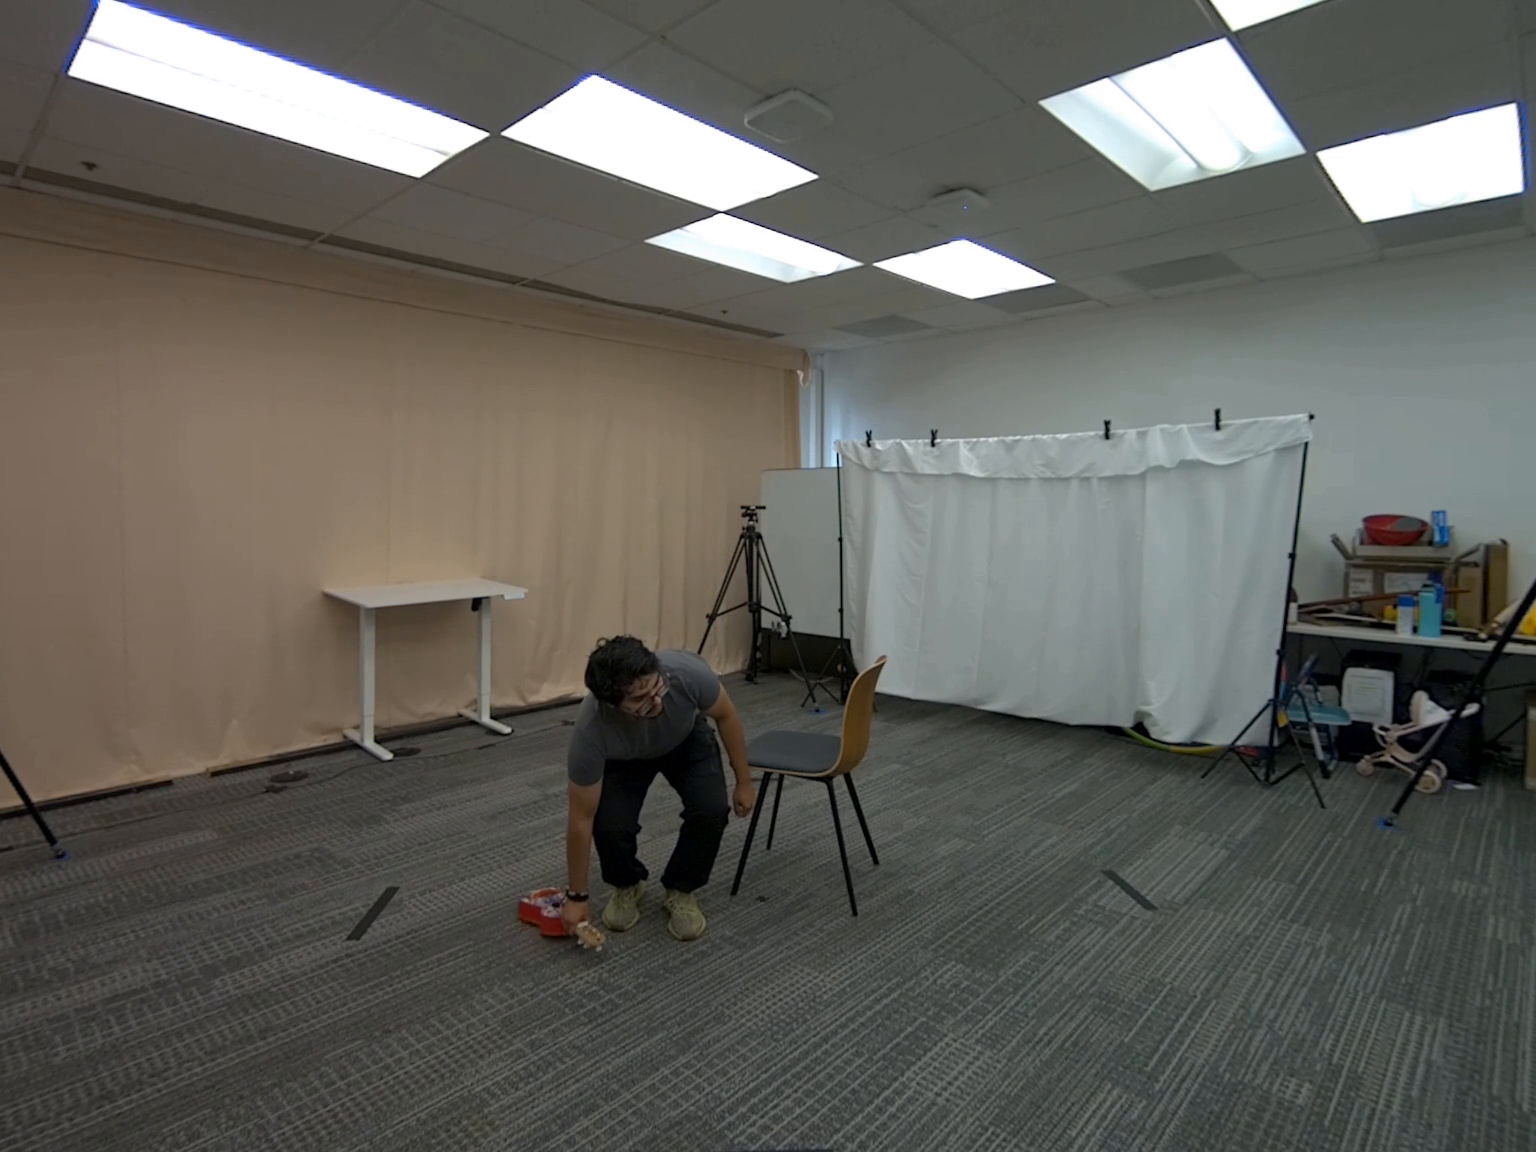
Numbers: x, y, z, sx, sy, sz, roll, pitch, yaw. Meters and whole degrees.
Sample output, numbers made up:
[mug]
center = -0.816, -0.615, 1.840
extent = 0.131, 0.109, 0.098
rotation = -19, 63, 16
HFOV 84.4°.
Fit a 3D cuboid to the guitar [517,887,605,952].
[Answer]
[guitar]
center = -0.676, 1.116, 2.713
extent = 0.188, 0.071, 0.509
rotation = 0, 0, -25
